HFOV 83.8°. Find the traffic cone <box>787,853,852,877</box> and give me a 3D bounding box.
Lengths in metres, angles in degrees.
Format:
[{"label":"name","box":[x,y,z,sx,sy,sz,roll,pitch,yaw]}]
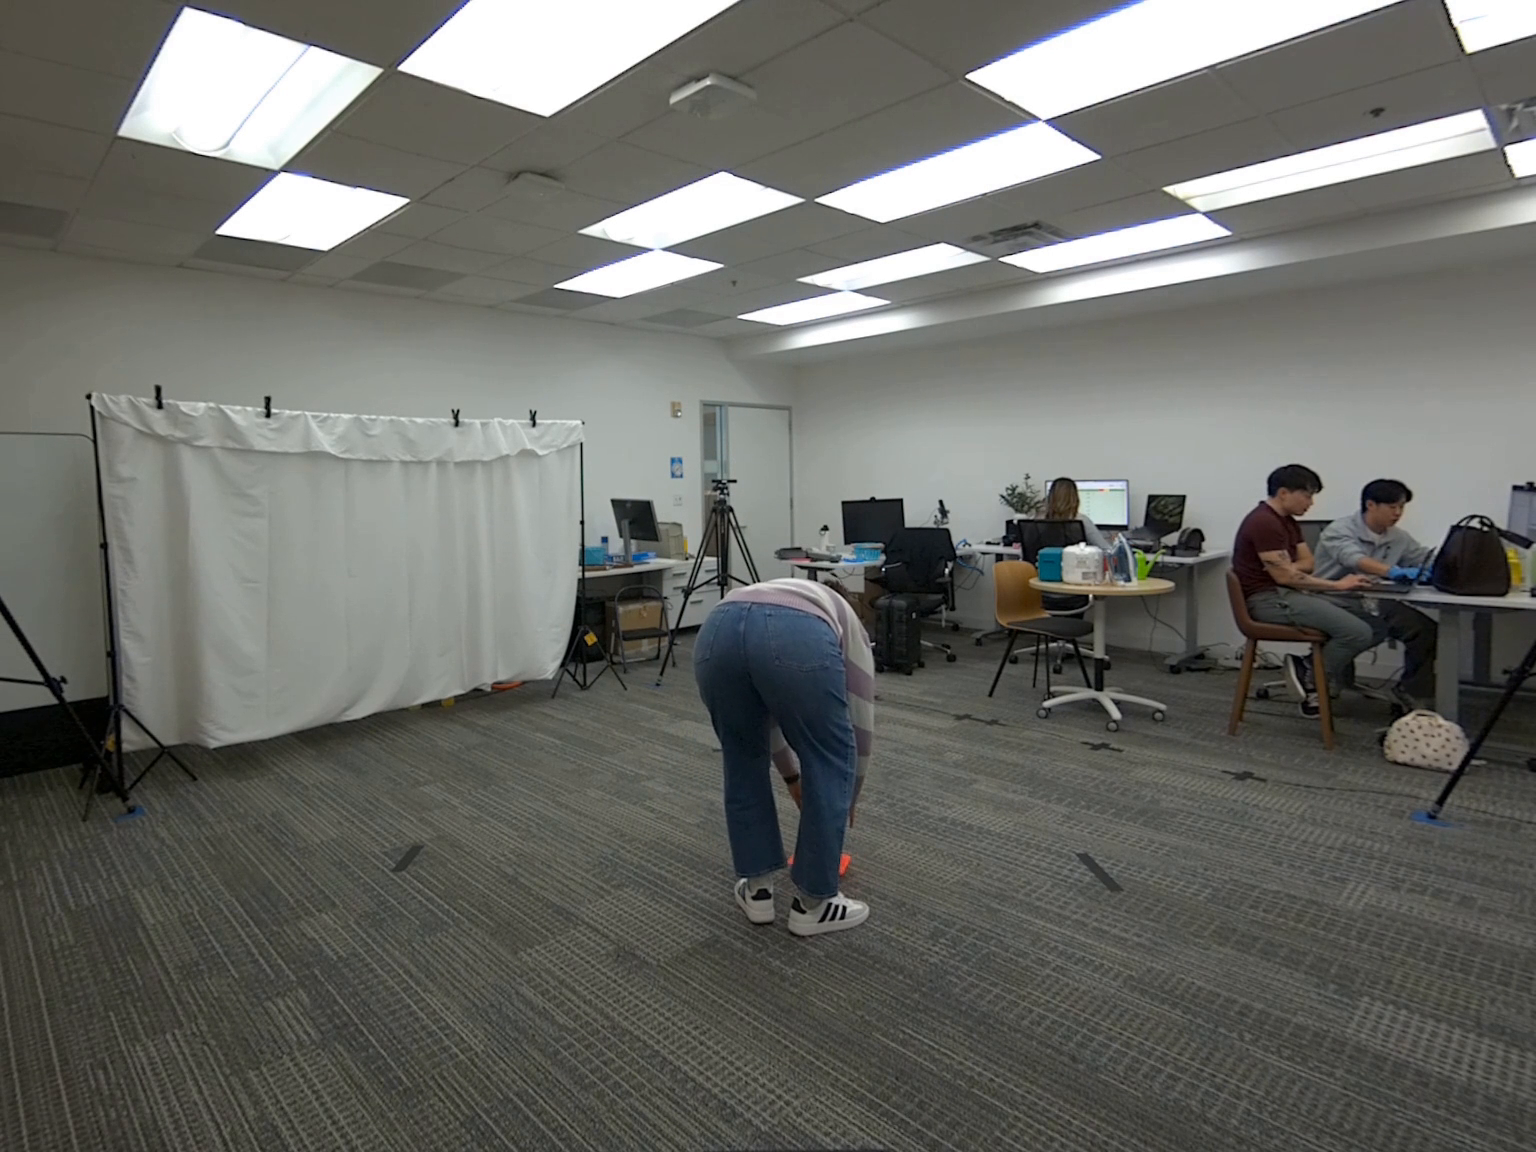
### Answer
[{"label":"traffic cone","box":[0.213,0.831,3.050,0.206,0.384,0.201,3,-2,14]}]
